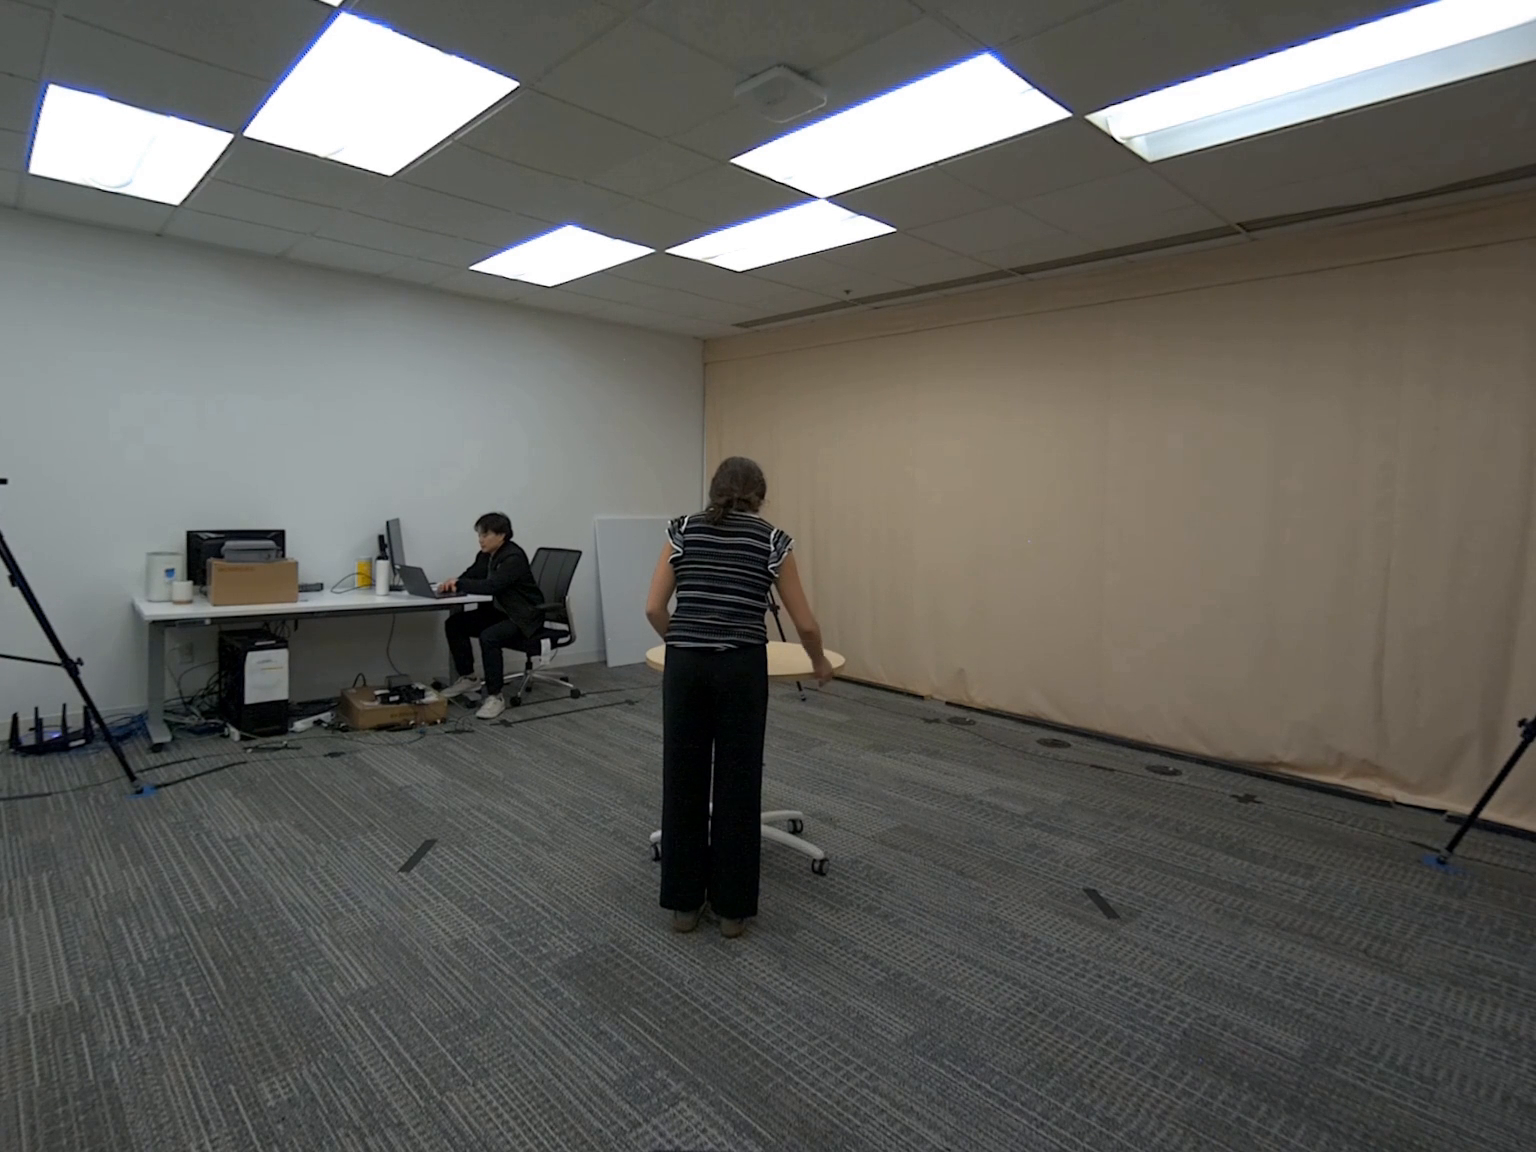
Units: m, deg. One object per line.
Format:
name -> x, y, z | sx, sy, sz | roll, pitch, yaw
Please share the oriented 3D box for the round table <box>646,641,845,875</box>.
round table -> -0.088, 0.701, 3.262 | 0.784, 0.784, 0.788 | 1, 4, -1
